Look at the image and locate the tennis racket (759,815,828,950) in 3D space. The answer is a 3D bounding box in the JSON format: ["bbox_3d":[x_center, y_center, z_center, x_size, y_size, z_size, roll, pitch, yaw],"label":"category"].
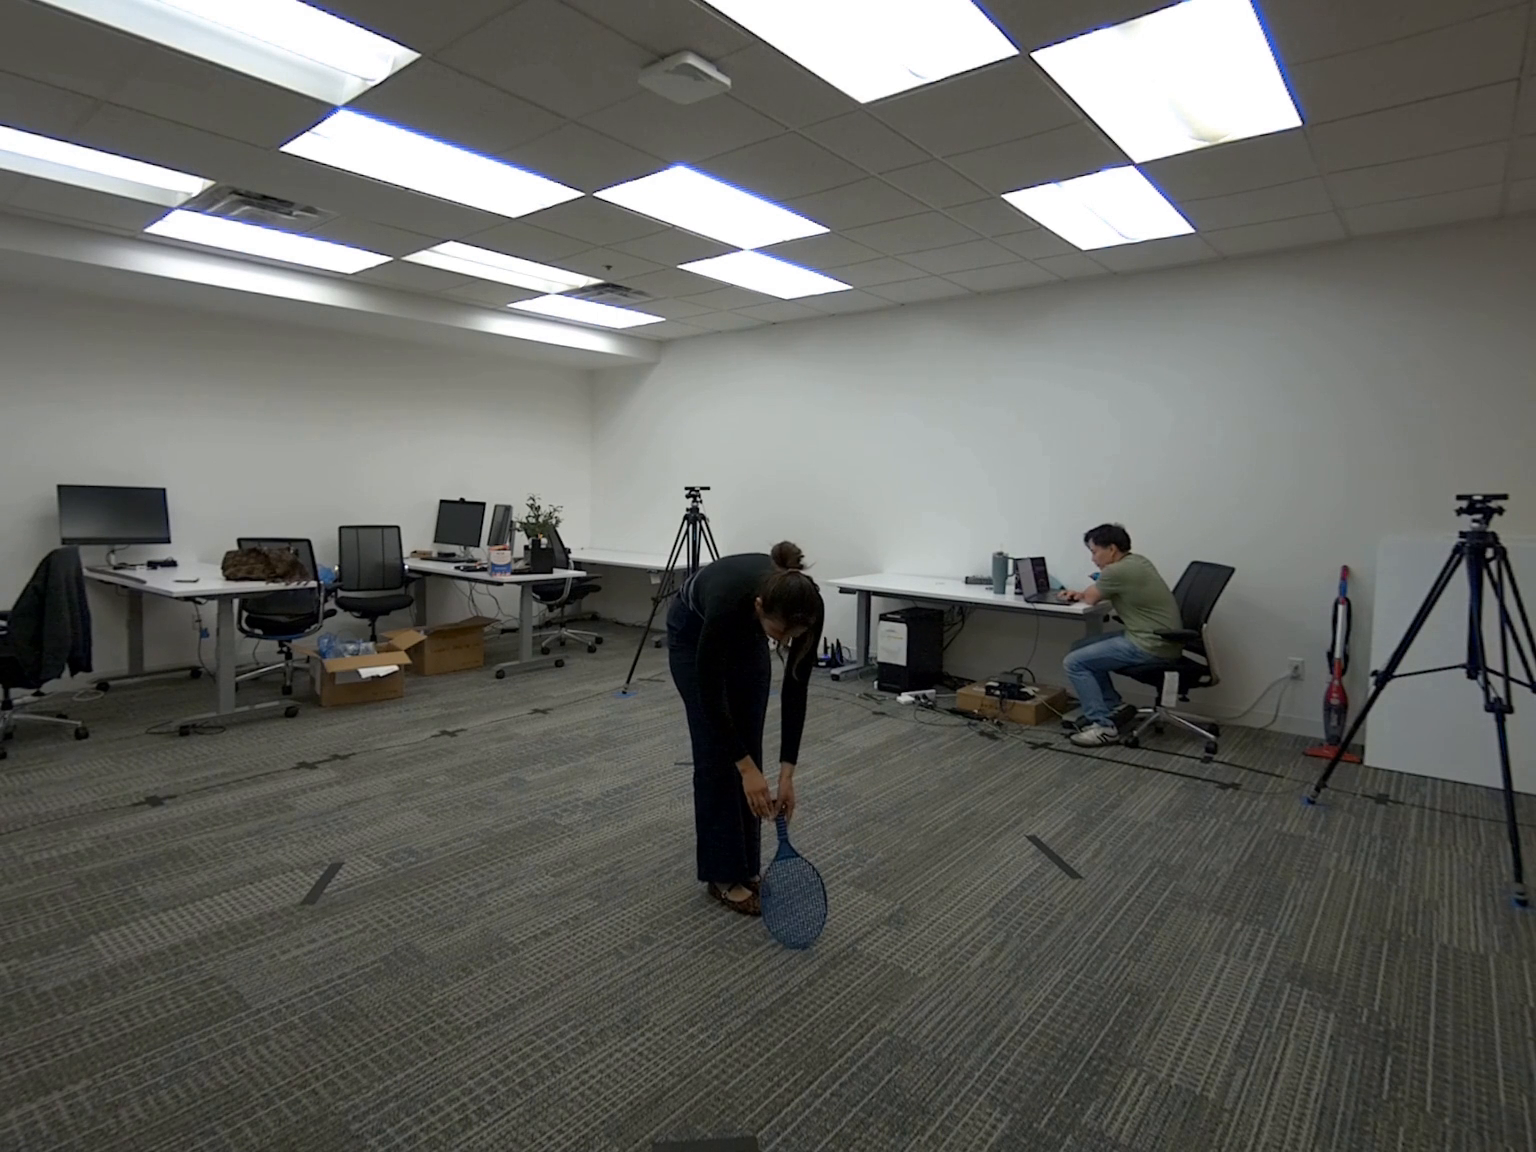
[{"bbox_3d":[0.056,0.911,2.629,0.211,0.440,0.032,-3,-16,-14],"label":"tennis racket"}]
